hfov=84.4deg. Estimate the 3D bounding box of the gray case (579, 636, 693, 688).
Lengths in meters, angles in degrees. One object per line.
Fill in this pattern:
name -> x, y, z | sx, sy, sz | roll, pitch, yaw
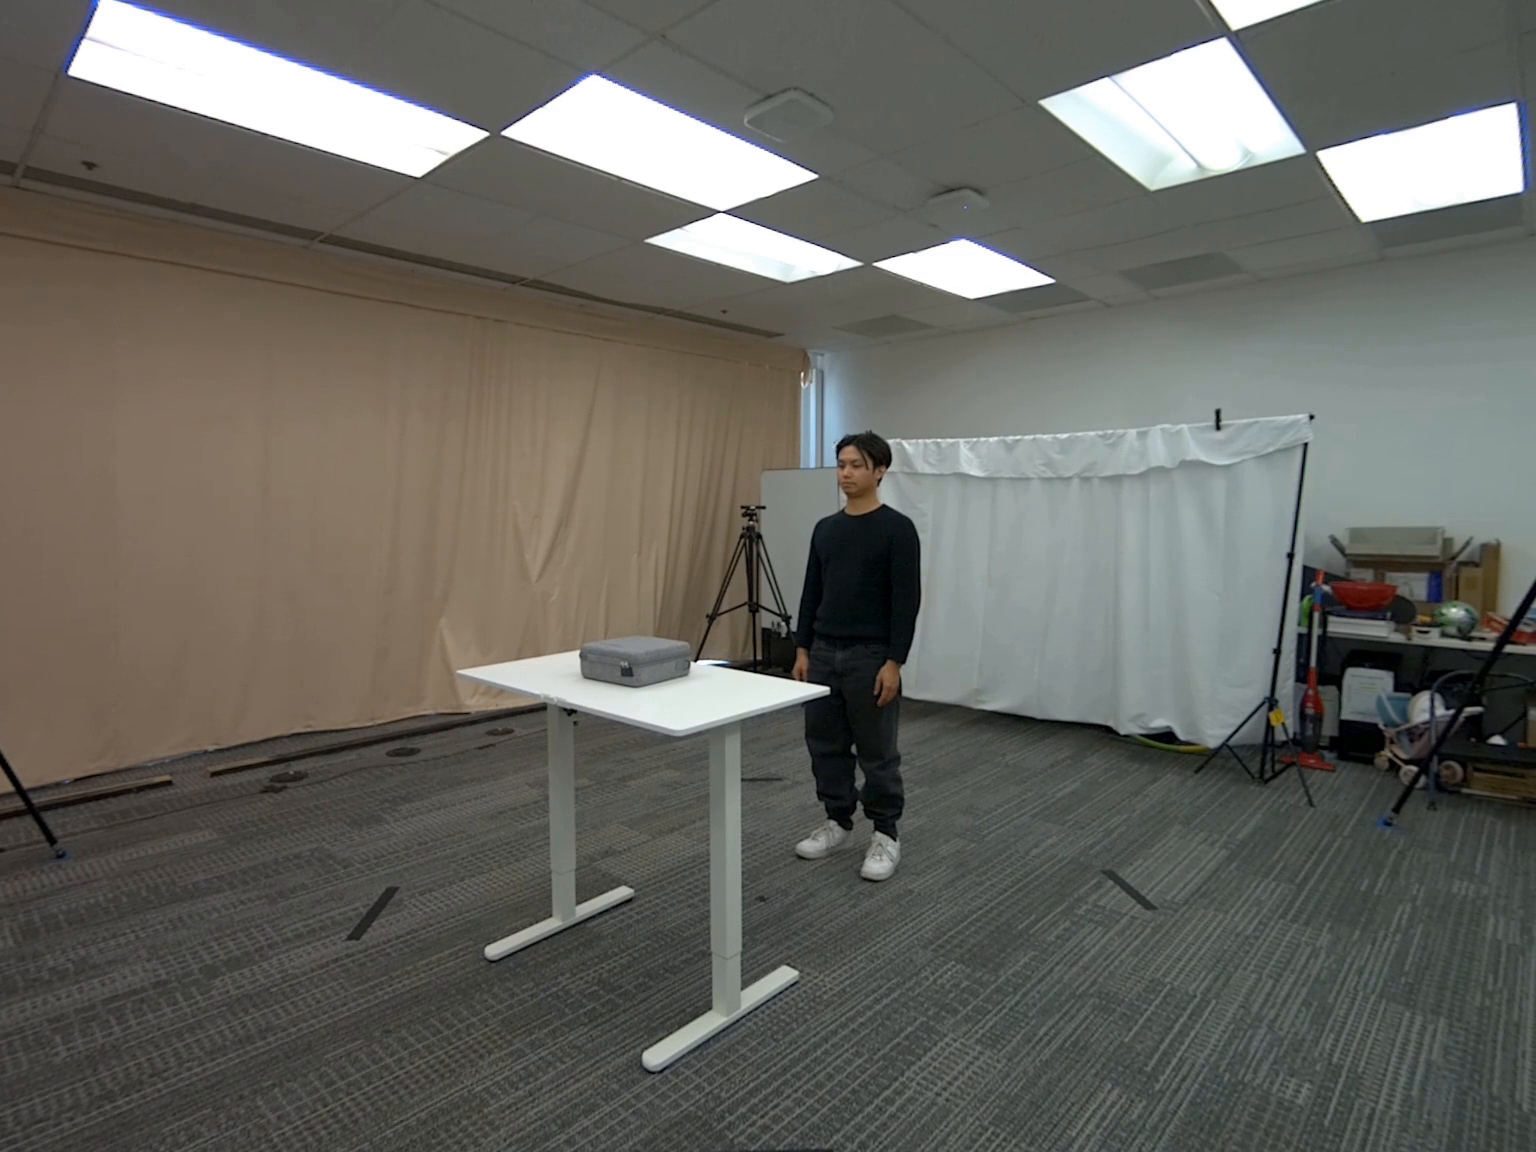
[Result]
gray case -> -0.396, 0.249, 2.522 | 0.265, 0.104, 0.253 | 3, 5, 36
